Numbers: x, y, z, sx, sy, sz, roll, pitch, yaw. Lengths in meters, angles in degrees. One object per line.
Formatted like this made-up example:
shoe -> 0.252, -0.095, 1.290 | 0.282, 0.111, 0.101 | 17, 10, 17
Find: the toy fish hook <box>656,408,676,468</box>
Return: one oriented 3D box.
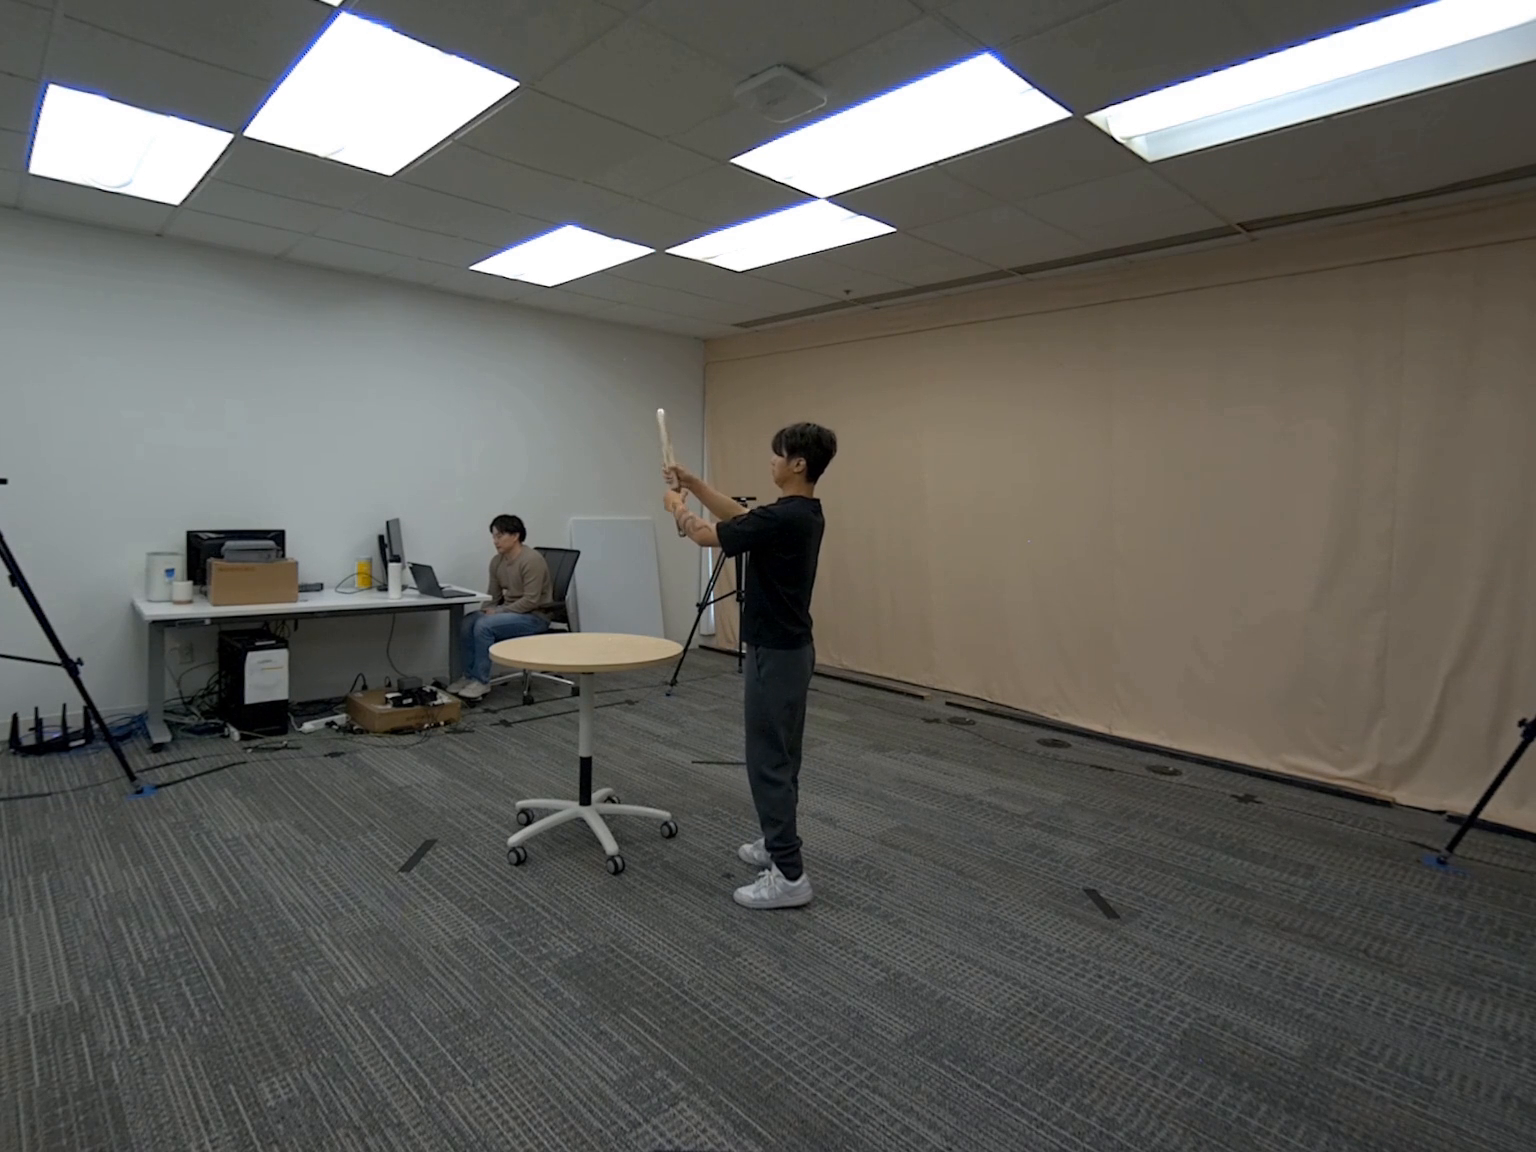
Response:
toy fish hook -> -0.371, -0.367, 3.162 | 0.048, 0.499, 0.227 | -9, 17, 2
